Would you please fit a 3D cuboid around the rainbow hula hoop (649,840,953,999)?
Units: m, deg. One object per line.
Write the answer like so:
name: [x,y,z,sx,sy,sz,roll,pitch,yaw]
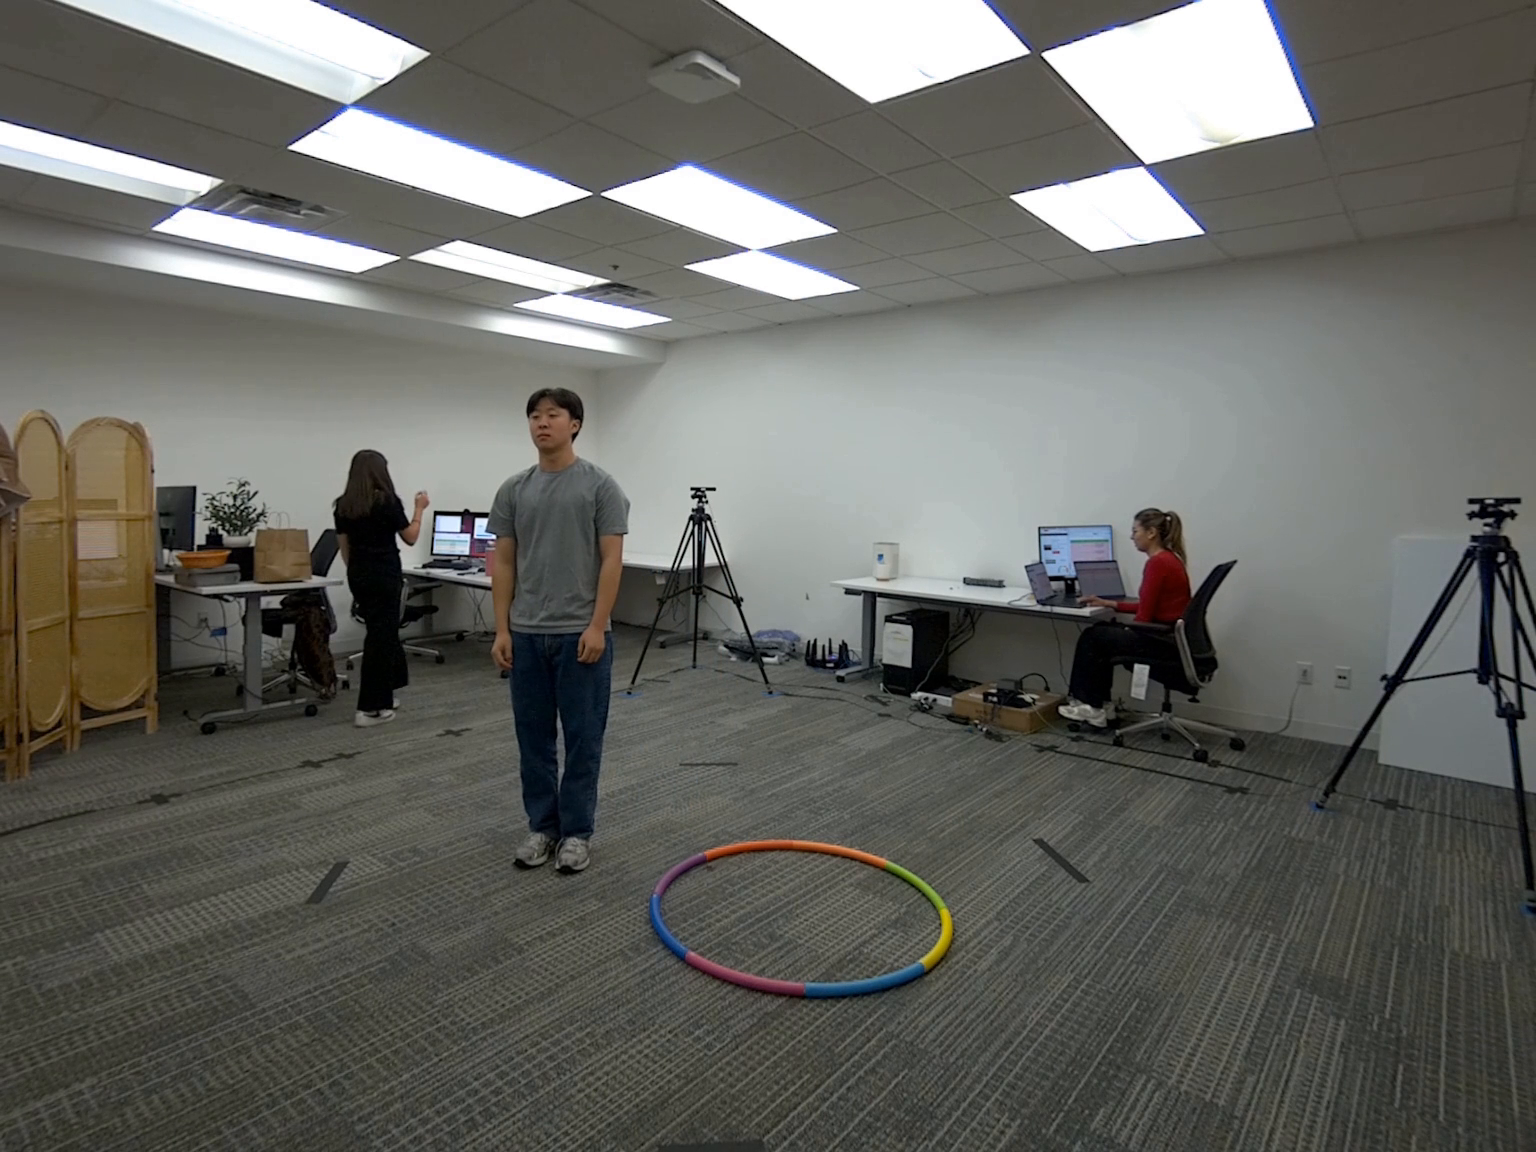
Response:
rainbow hula hoop: [0.090,1.074,2.808,0.978,0.035,0.984,1,6,-2]
